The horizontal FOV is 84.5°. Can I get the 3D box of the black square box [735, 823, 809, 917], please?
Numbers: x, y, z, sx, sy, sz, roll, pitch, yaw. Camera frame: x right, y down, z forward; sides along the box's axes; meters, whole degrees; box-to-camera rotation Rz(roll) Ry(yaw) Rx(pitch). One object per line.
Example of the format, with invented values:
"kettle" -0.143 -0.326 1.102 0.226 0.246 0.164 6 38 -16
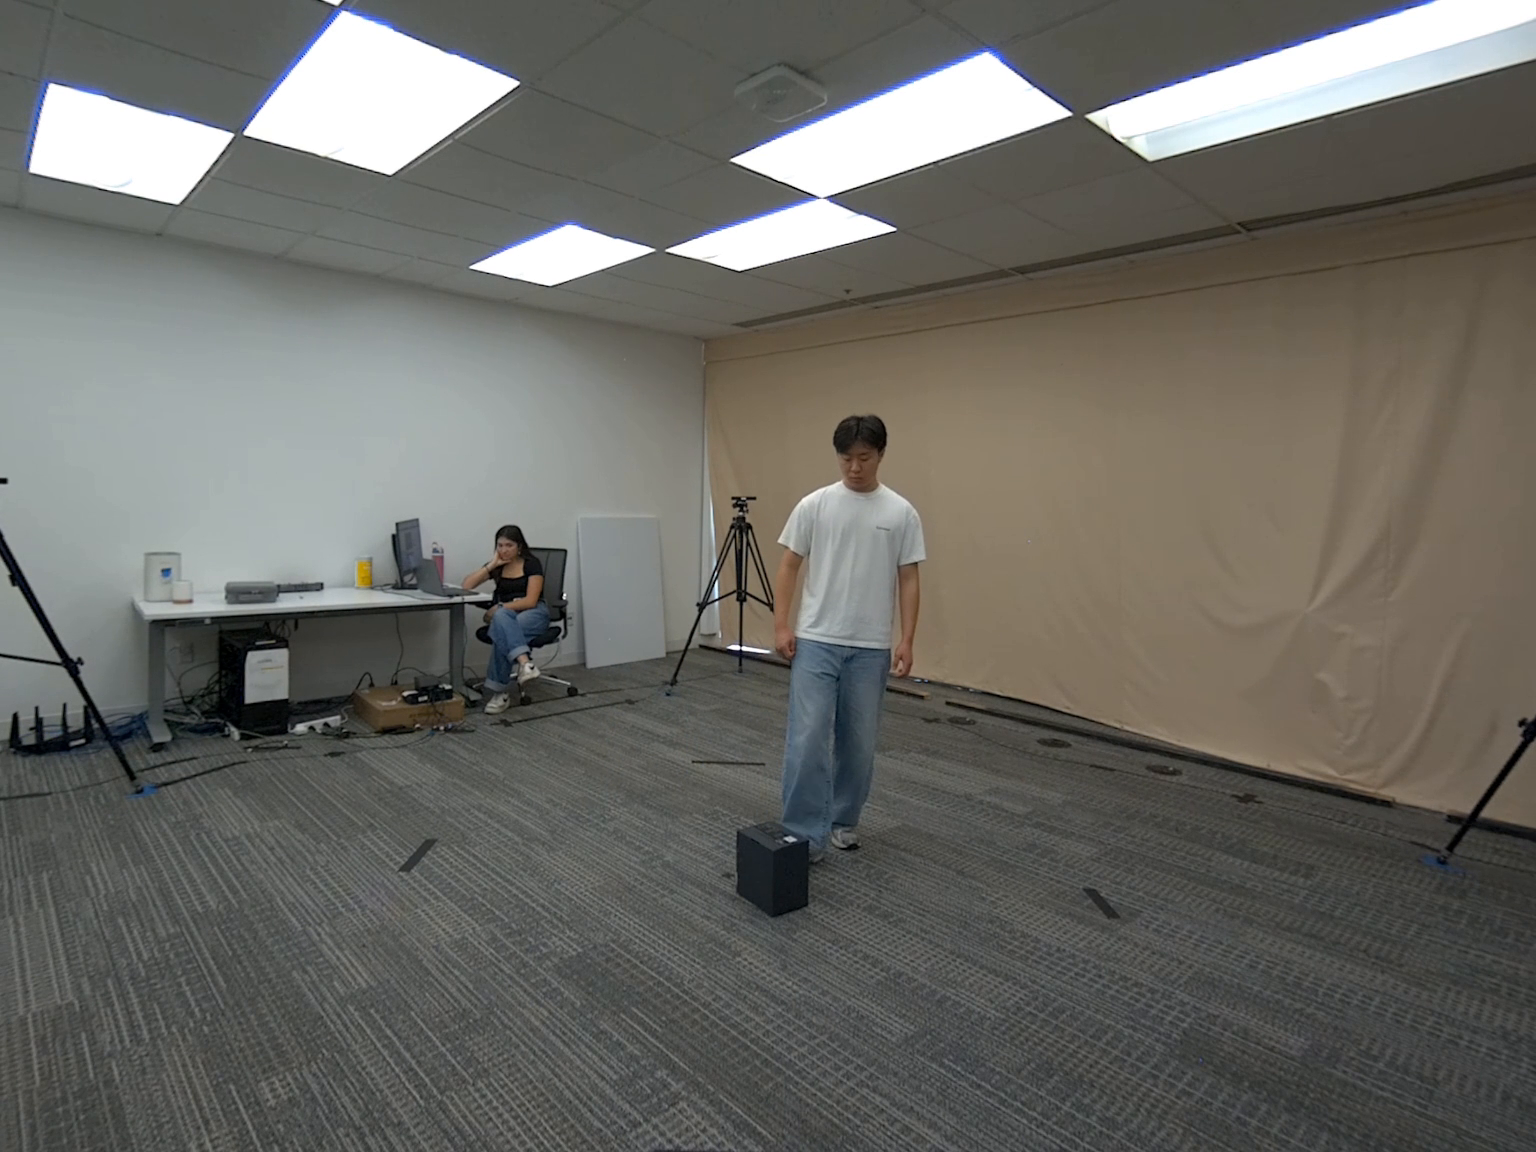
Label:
"black square box" 0.007 1.006 2.917 0.152 0.227 0.222 -2 4 -36
